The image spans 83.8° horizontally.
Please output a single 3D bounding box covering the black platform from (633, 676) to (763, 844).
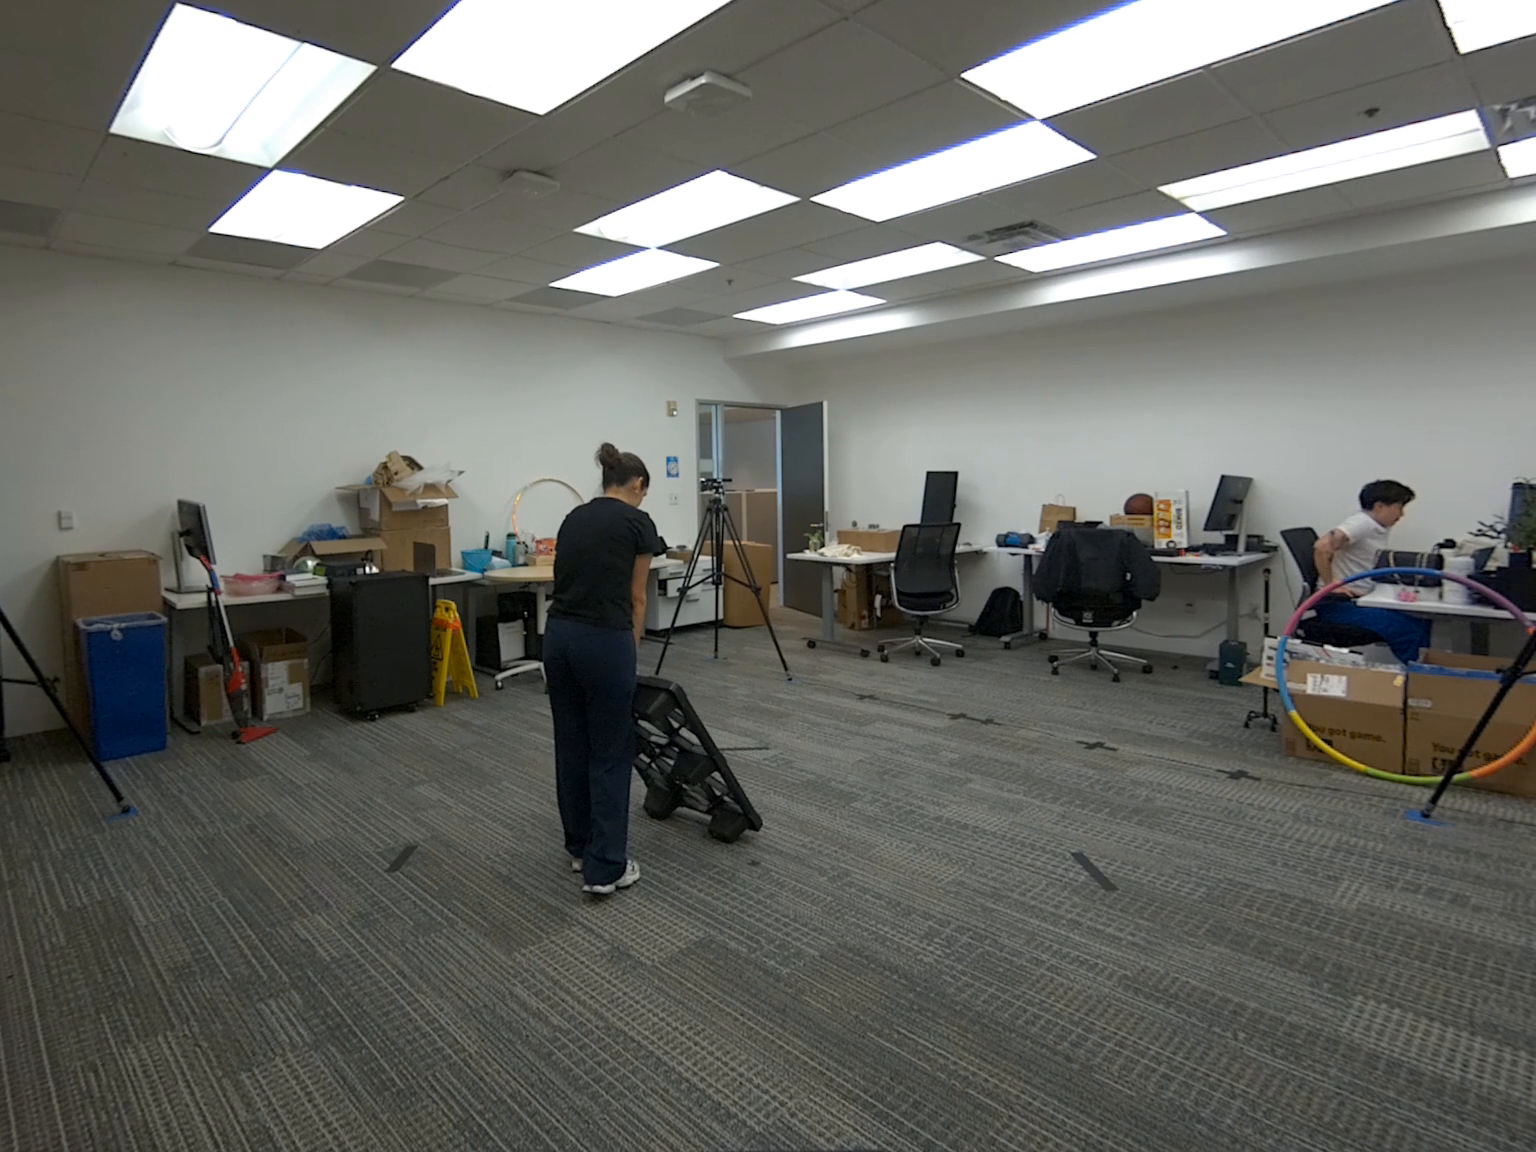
[{"bbox_3d":[-0.424,0.692,3.309,0.623,0.780,0.143,3,40,41],"label":"black platform"}]
